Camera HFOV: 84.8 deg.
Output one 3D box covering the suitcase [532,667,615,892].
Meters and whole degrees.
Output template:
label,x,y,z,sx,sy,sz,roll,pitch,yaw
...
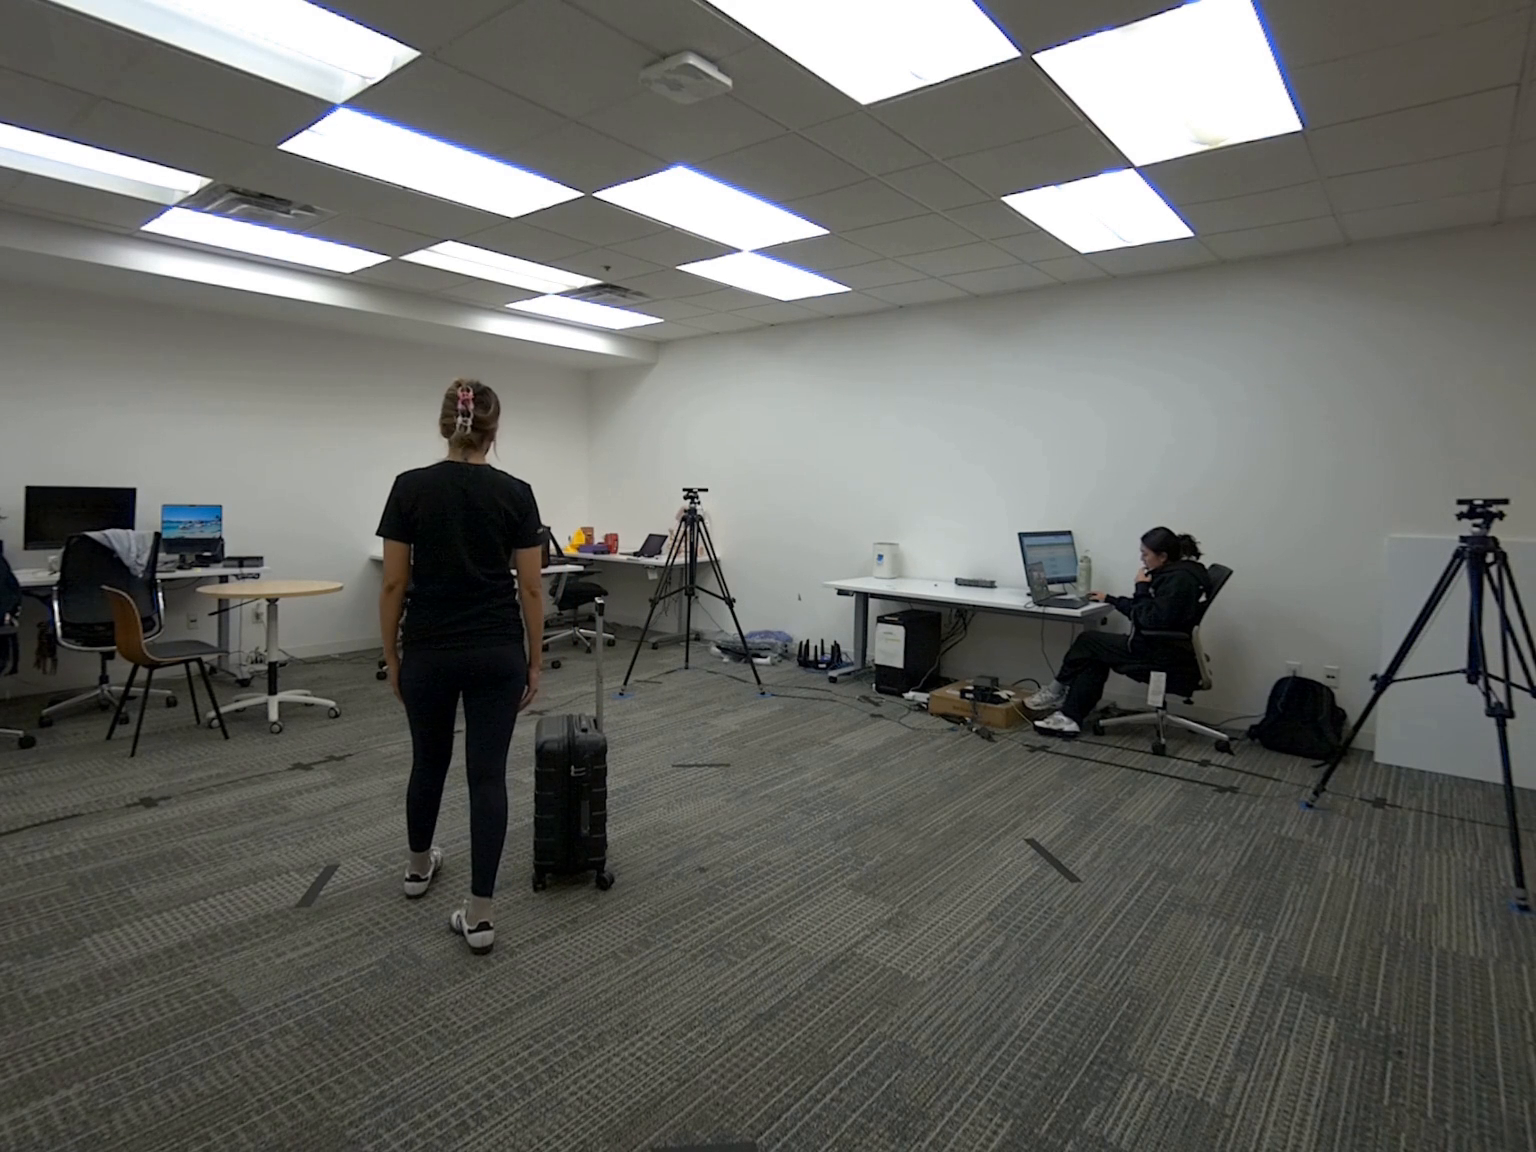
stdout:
label,x,y,z,sx,sy,sz,roll,pitch,yaw
suitcase,-0.733,0.593,3.063,0.254,0.976,0.390,-3,3,-13
